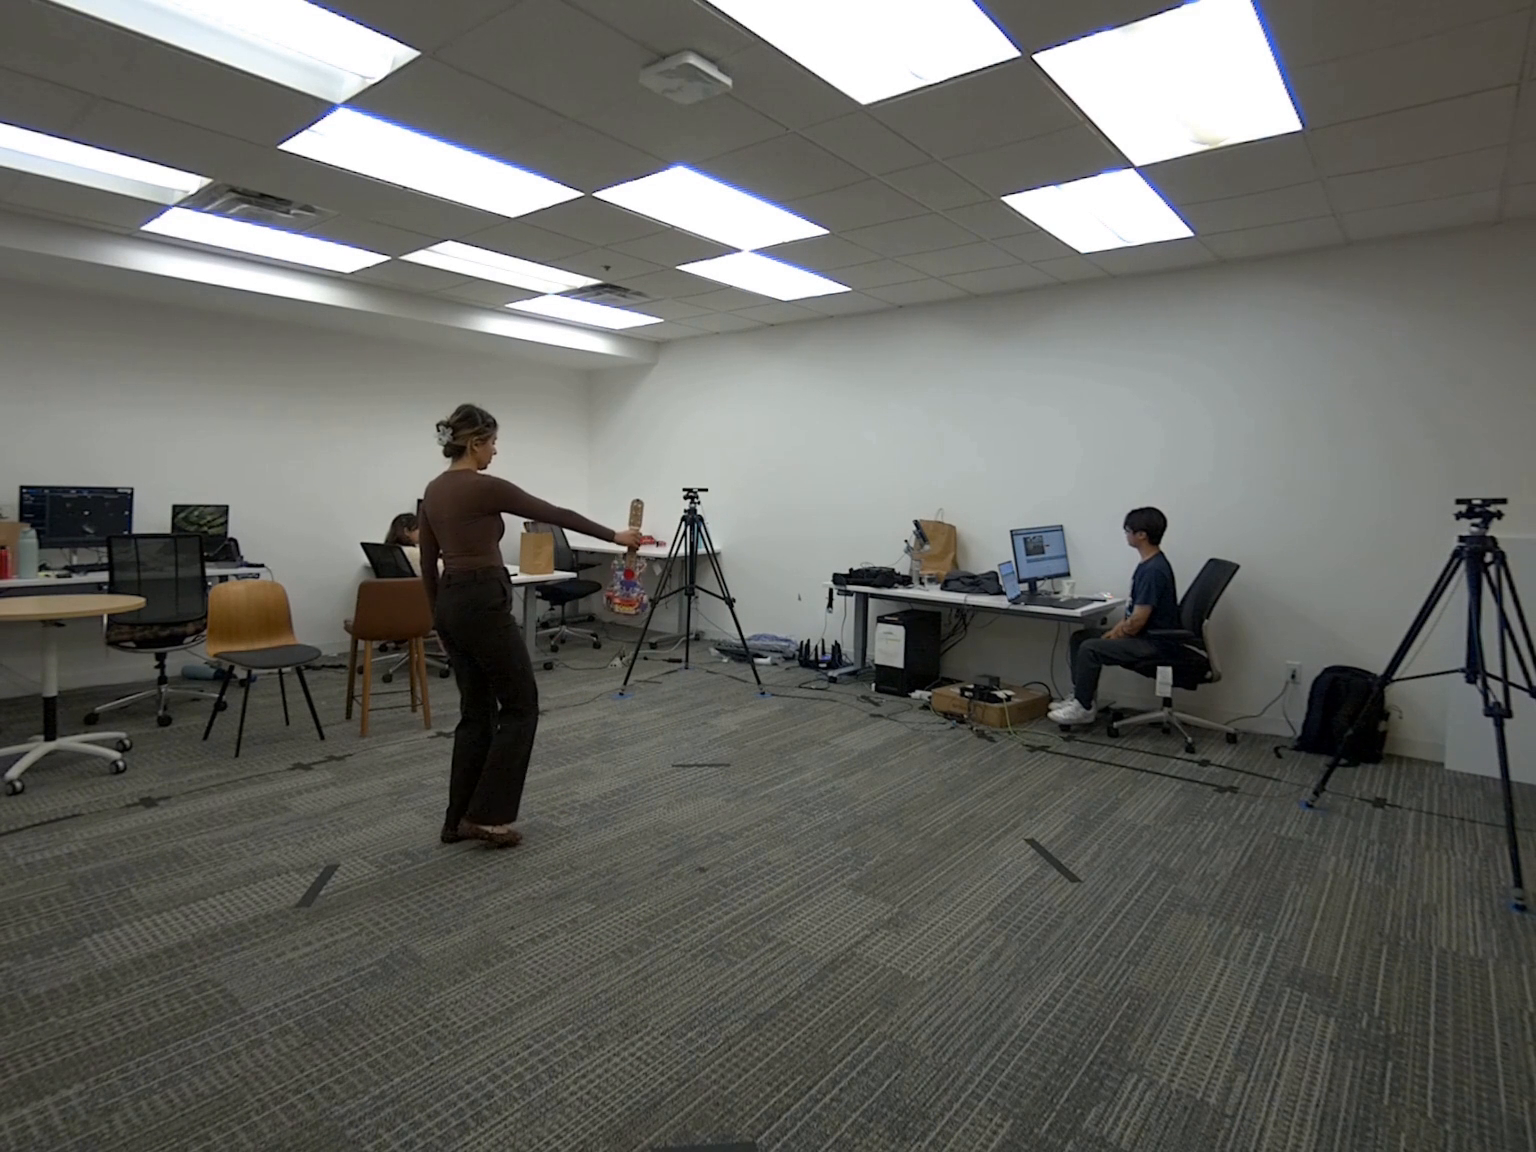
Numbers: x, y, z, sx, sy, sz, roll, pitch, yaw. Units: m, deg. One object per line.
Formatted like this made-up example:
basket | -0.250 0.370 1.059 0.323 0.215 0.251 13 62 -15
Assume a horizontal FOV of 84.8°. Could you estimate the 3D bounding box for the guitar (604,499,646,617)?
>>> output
guitar | -0.567 -0.071 3.611 0.191 0.501 0.071 16 -10 -6
